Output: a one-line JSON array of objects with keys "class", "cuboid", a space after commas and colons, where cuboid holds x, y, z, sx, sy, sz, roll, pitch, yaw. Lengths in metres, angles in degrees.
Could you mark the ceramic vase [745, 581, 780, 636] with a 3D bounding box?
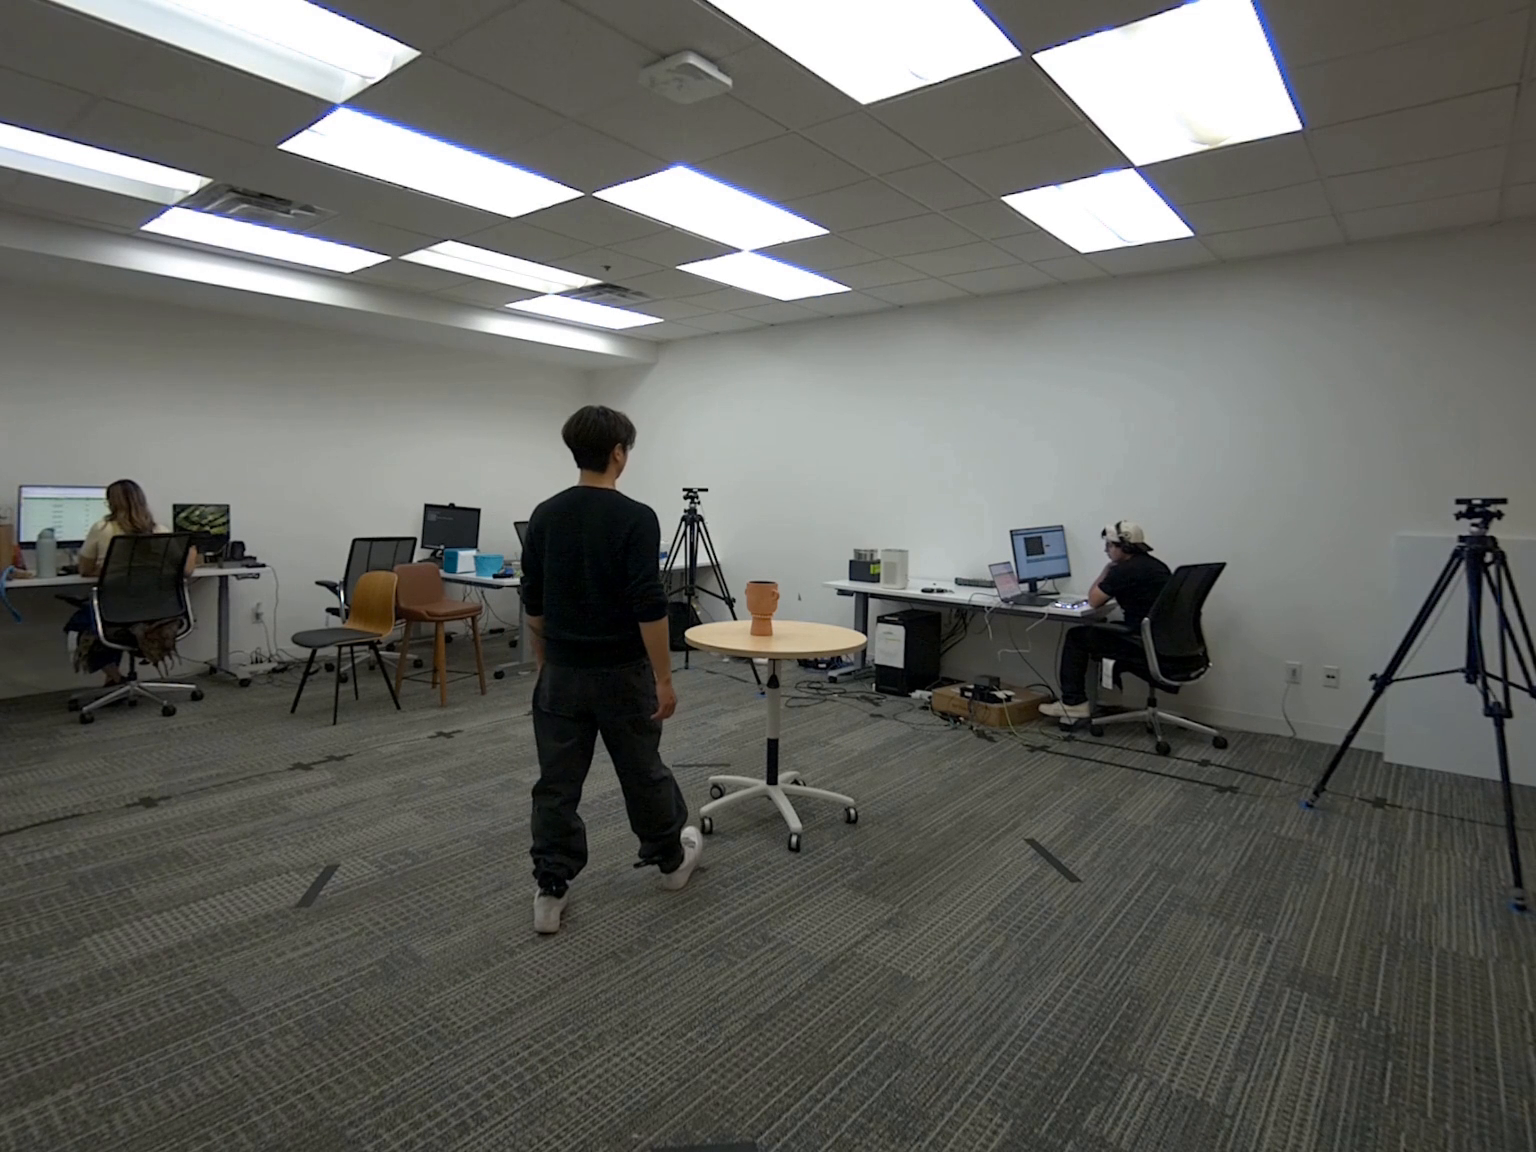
[{"class": "ceramic vase", "cuboid": [-0.035, 0.133, 3.599, 0.134, 0.219, 0.160, 0, 4, -6]}]
